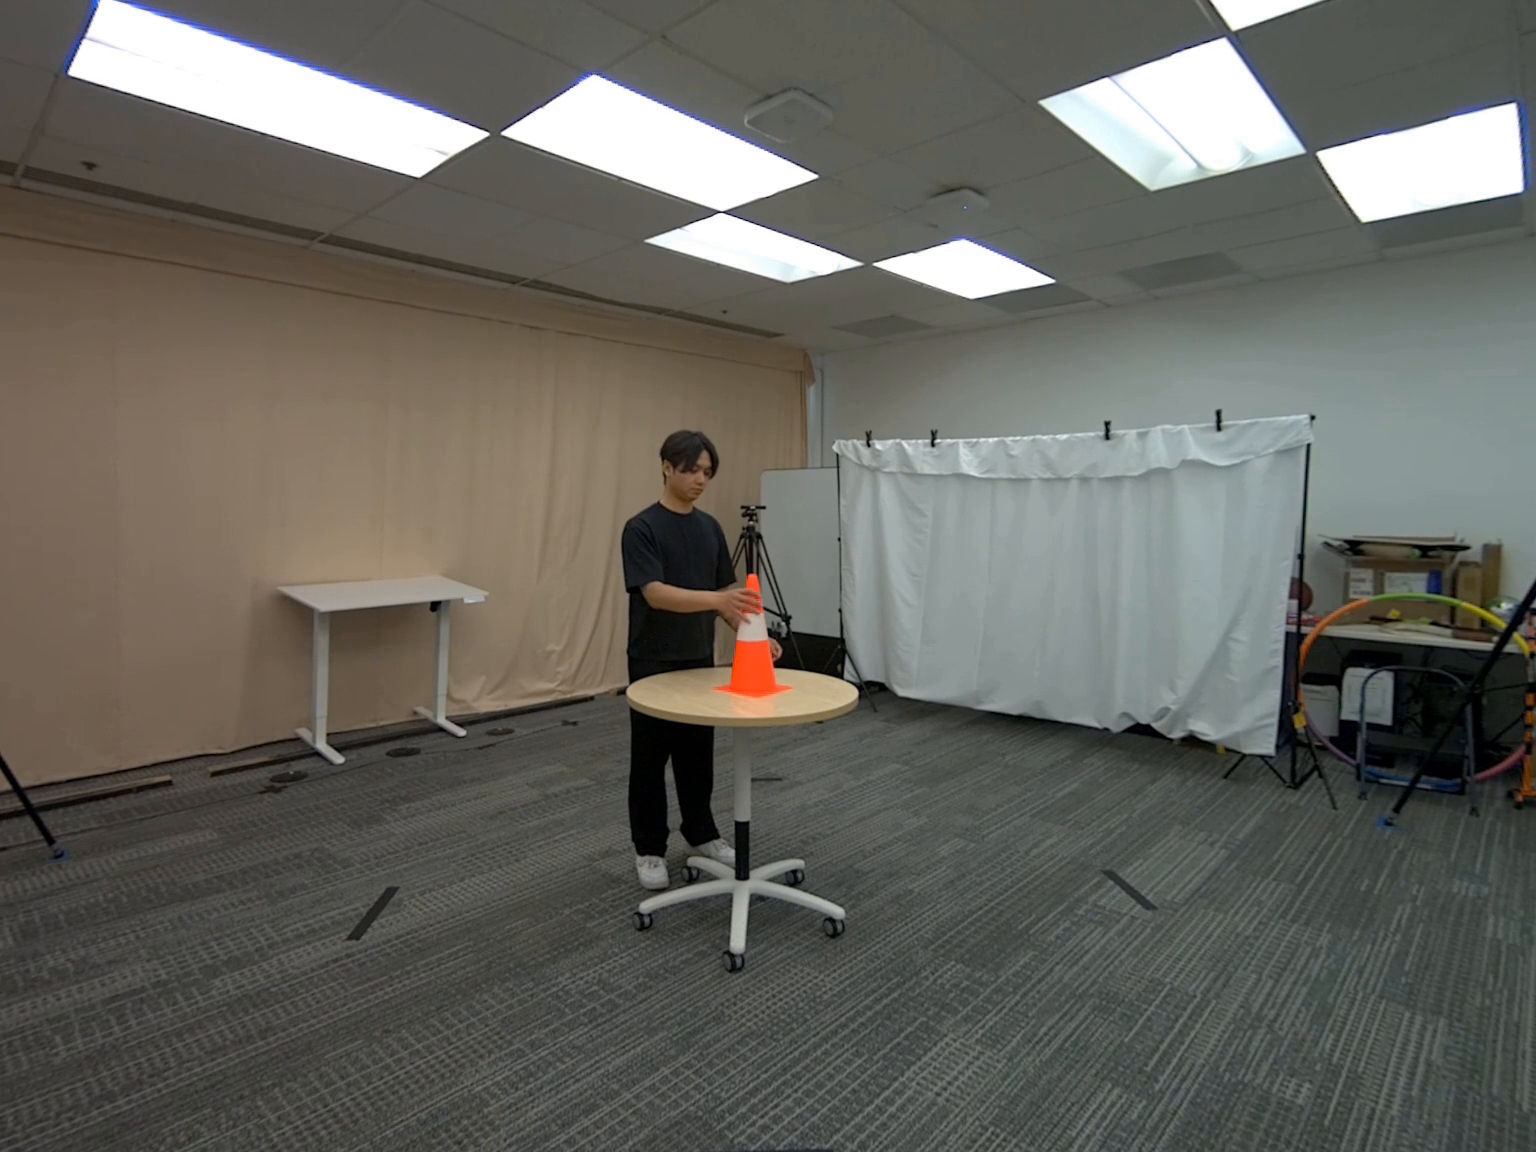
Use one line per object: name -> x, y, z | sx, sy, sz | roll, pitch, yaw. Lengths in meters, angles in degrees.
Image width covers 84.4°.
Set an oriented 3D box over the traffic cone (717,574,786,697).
traffic cone -> -0.047, 0.189, 2.801 | 0.211, 0.383, 0.197 | 1, 2, 40
